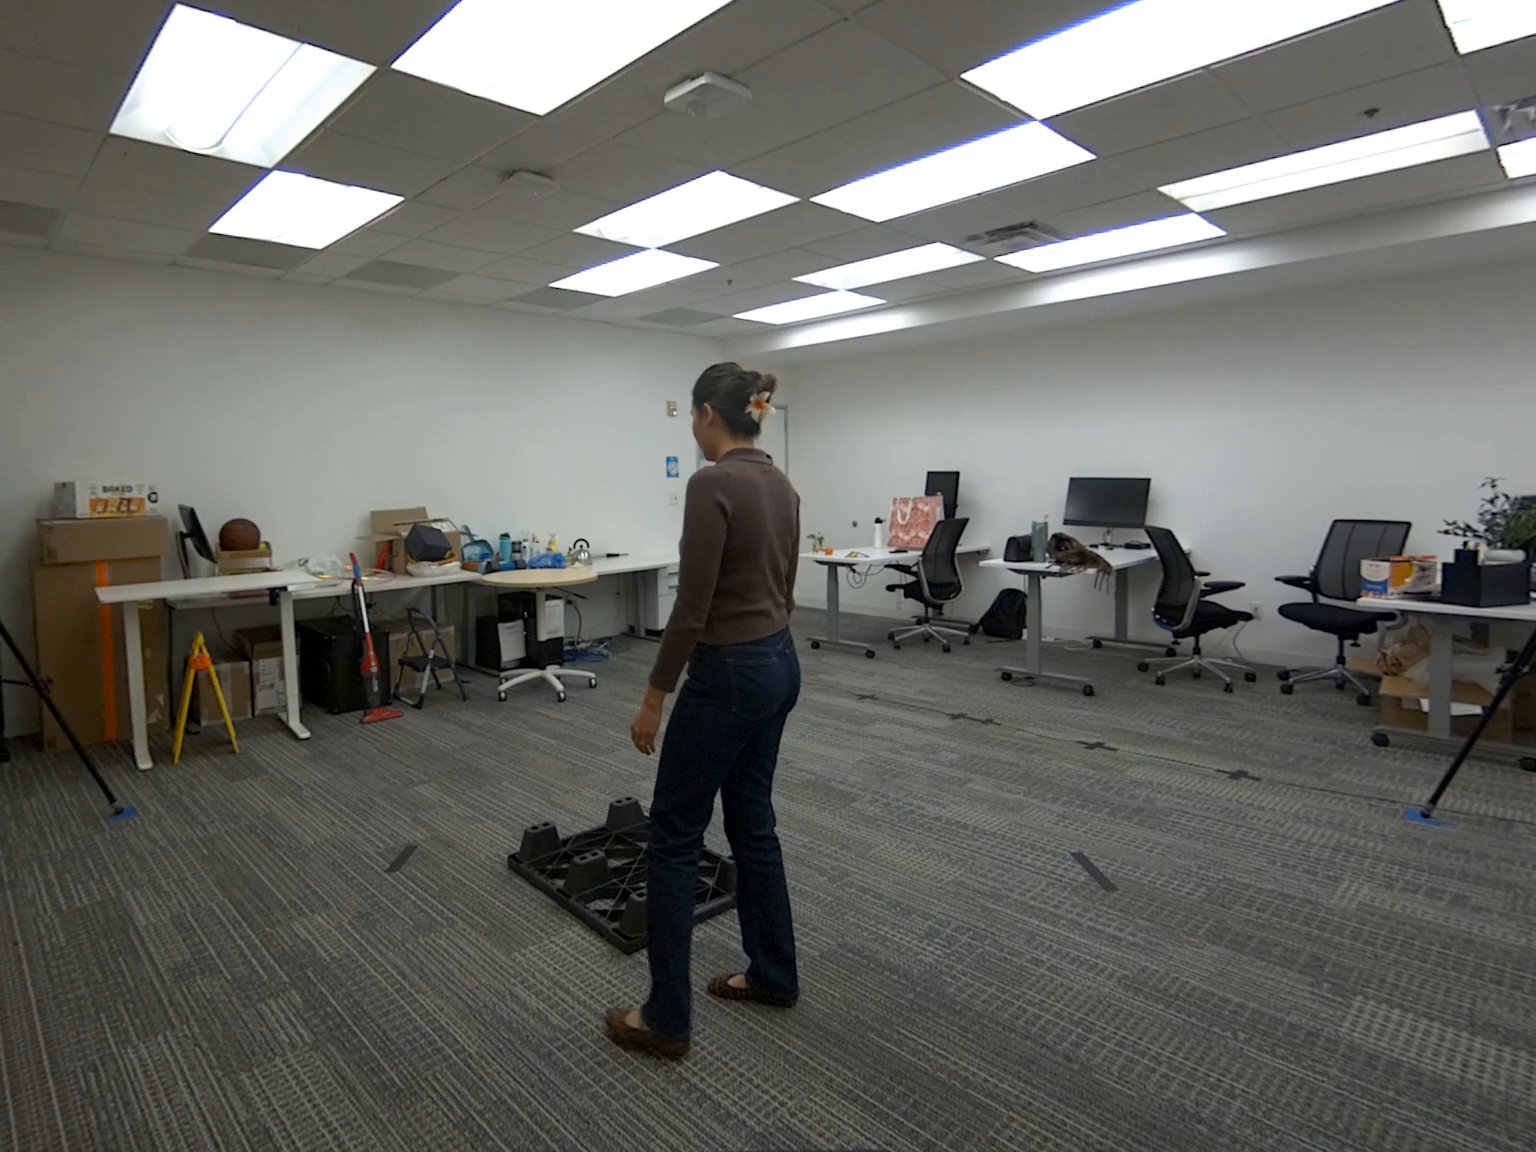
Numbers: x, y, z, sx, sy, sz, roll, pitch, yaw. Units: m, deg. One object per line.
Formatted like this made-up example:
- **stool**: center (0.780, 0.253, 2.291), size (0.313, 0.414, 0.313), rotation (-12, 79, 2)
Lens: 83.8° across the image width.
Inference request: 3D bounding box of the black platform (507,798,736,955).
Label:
- **black platform**: center (-0.461, 0.998, 3.008), size (0.589, 0.142, 0.831), rotation (-7, 9, -42)
